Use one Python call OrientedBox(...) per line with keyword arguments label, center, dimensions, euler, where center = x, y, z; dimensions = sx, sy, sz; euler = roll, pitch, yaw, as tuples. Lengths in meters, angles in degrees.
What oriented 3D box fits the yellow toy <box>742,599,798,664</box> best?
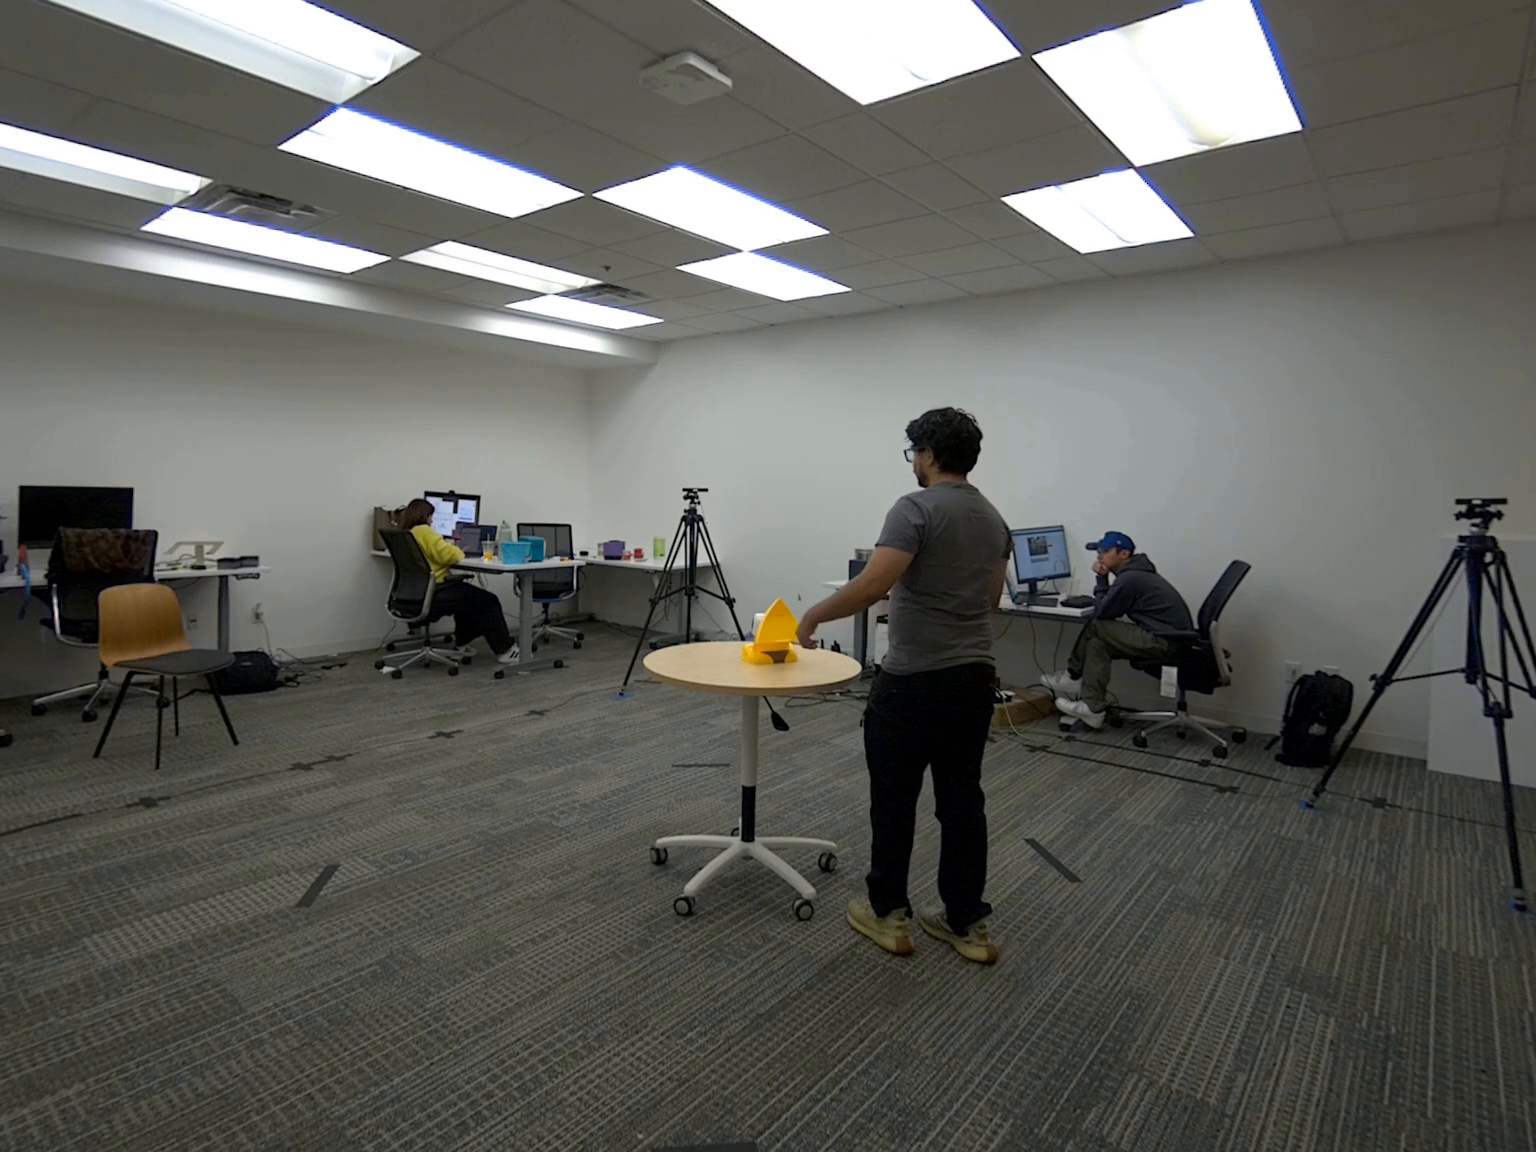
OrientedBox(label="yellow toy", center=(0.000, 0.183, 3.049), dimensions=(0.200, 0.230, 0.198), euler=(-1, 5, -27))
